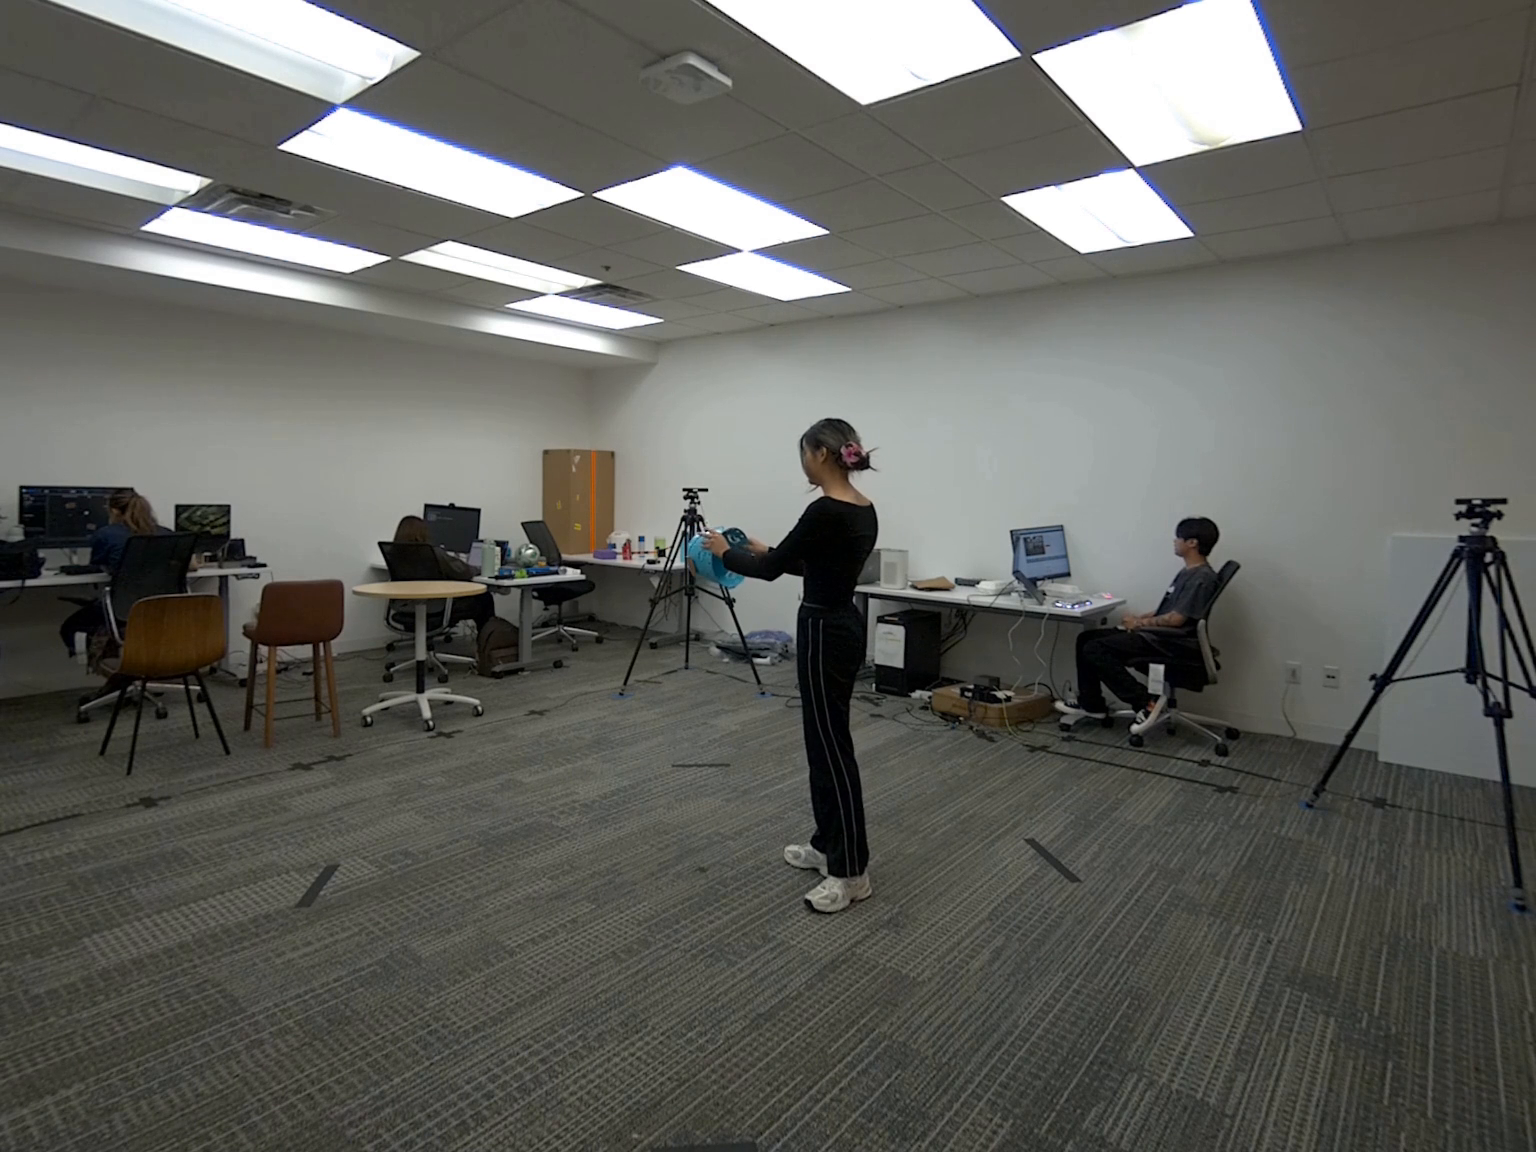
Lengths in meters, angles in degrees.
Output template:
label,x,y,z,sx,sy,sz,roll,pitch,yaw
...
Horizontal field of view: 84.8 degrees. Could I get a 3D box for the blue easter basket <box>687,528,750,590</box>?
label,x,y,z,sx,sy,sz,roll,pitch,yaw
blue easter basket,-0.211,-0.077,3.286,0.161,0.243,0.236,3,4,39
